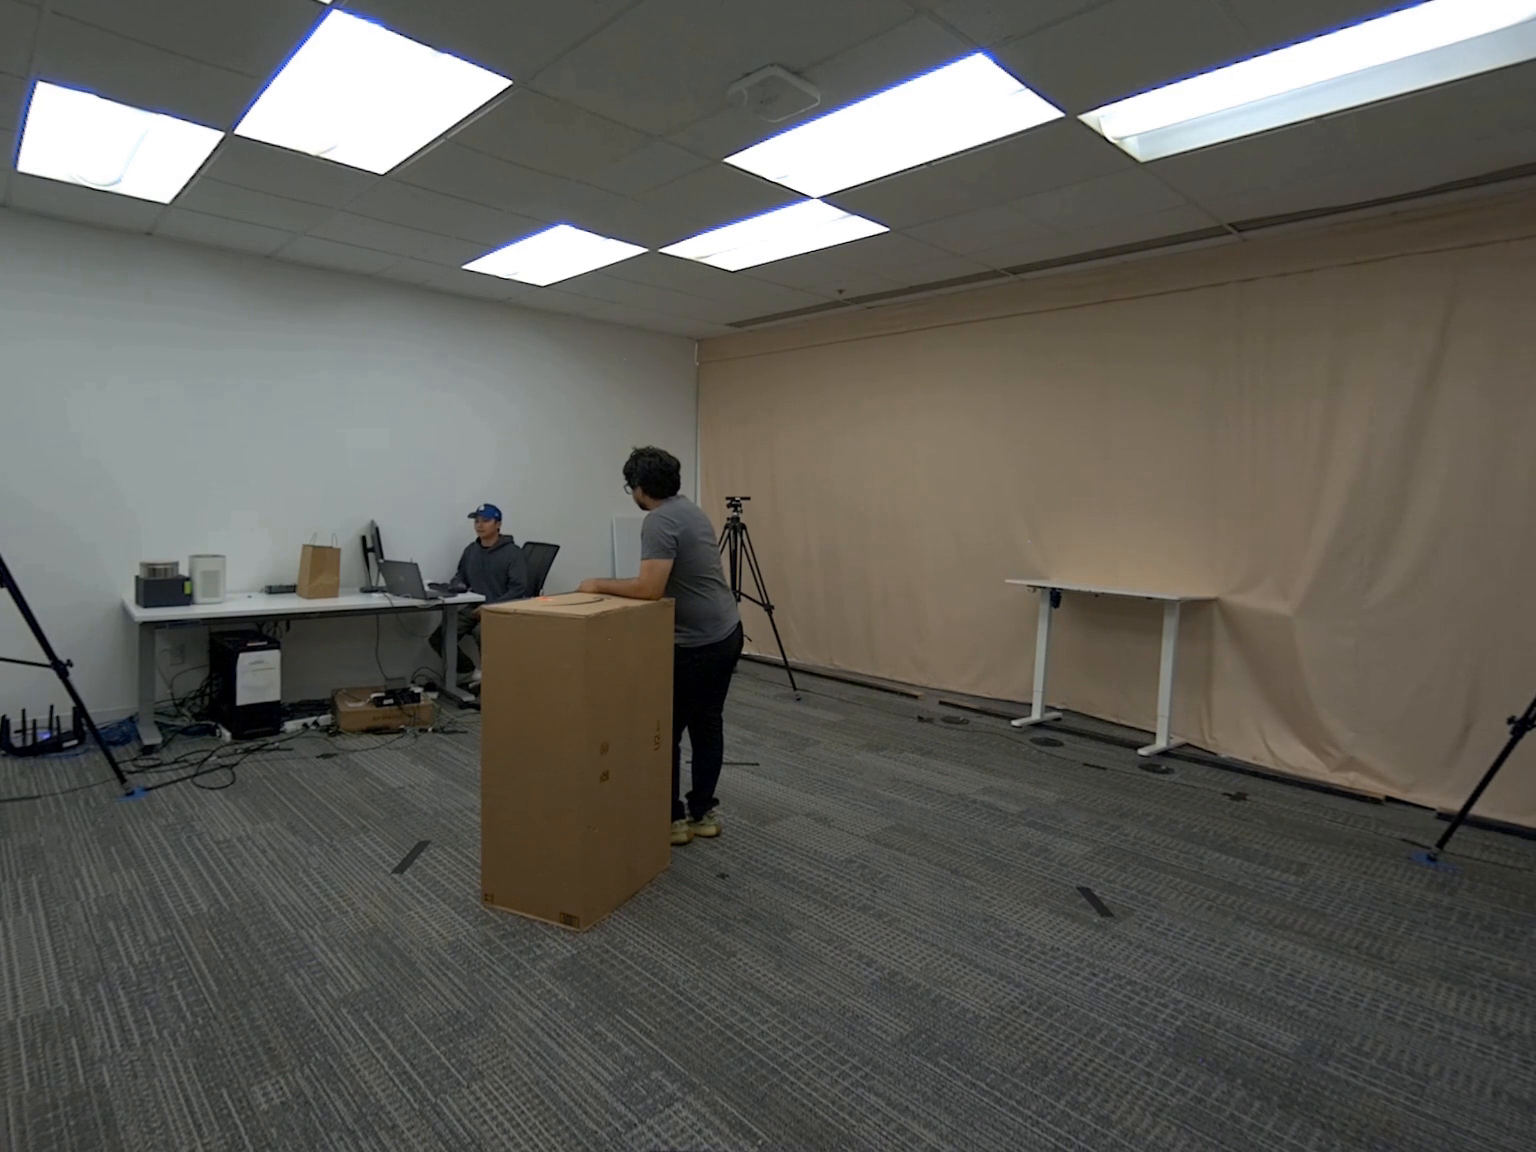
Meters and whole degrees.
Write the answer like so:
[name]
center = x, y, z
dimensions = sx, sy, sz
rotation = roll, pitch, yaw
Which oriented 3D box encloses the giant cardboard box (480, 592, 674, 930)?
[giant cardboard box]
center = -0.675, 0.600, 2.985
dimensions = 0.434, 1.023, 0.568
rotation = 3, 4, 25
